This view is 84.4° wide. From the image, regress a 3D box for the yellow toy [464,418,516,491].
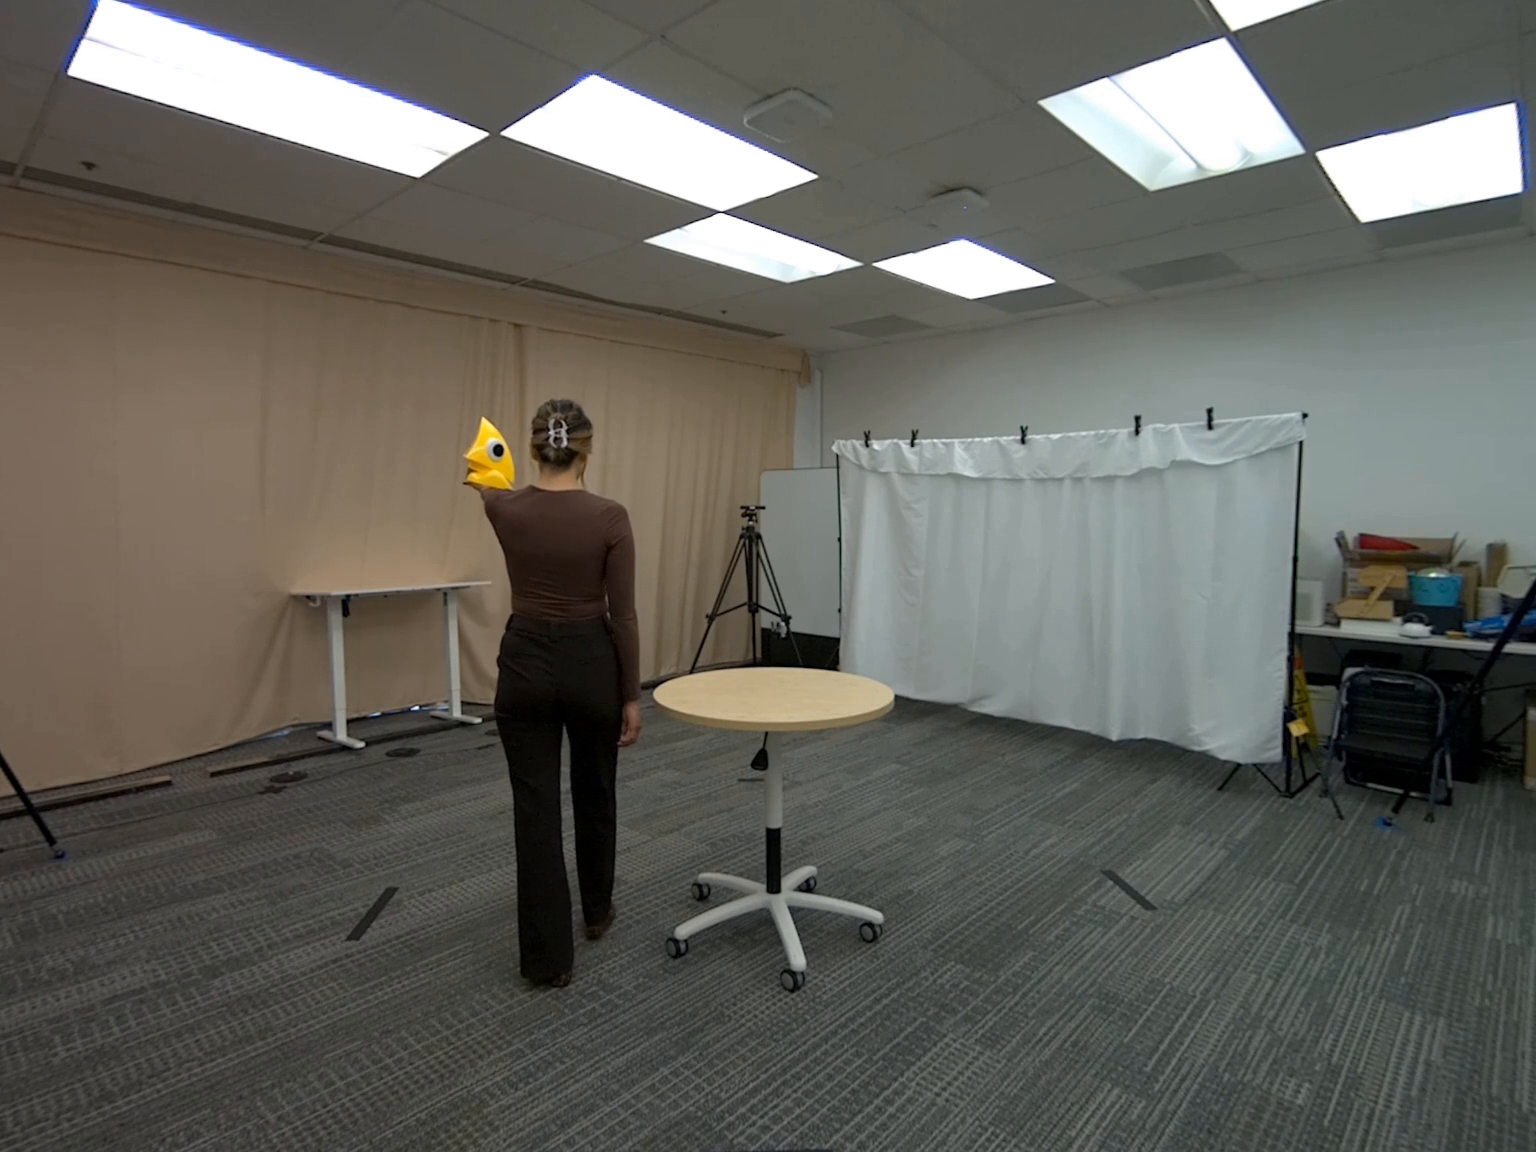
[{"bbox_3d":[-0.999,-0.446,3.038,0.188,0.230,0.210,12,4,-23],"label":"yellow toy"}]
